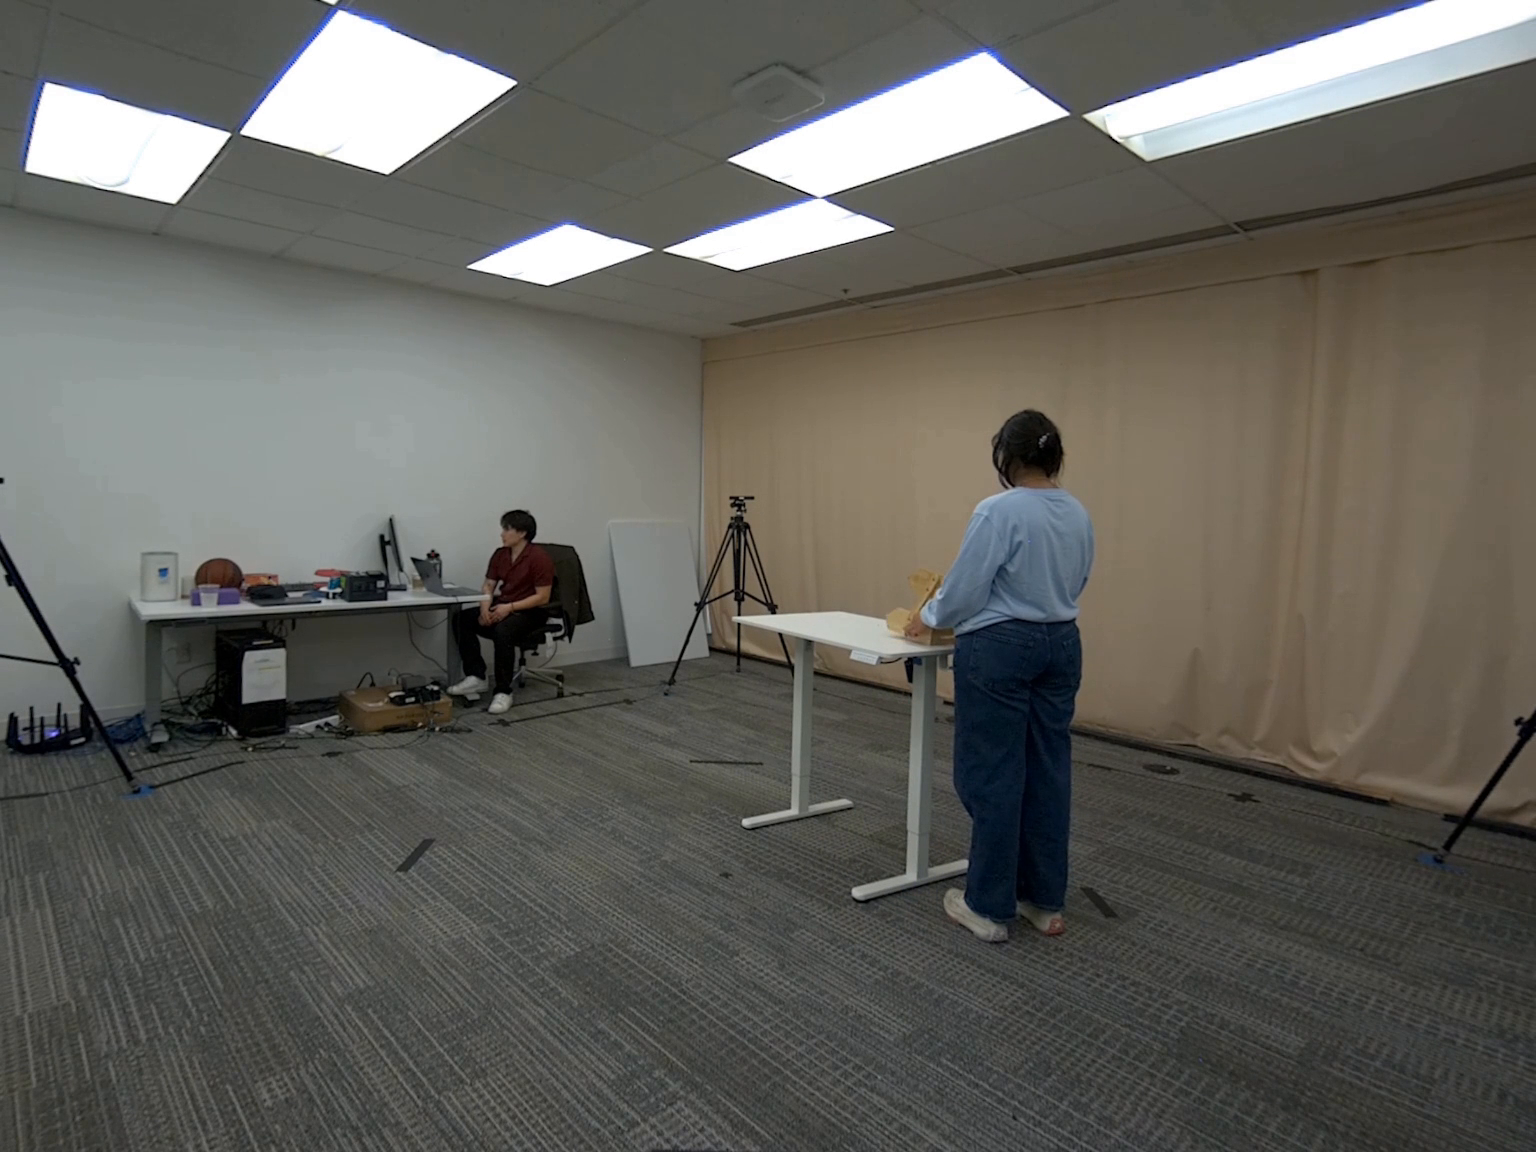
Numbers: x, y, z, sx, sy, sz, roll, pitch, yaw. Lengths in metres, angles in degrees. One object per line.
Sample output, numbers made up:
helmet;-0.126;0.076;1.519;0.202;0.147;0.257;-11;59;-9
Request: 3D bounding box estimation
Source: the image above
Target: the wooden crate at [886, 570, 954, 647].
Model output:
wooden crate;0.660;0.098;3.112;0.317;0.271;0.310;0;13;-32
